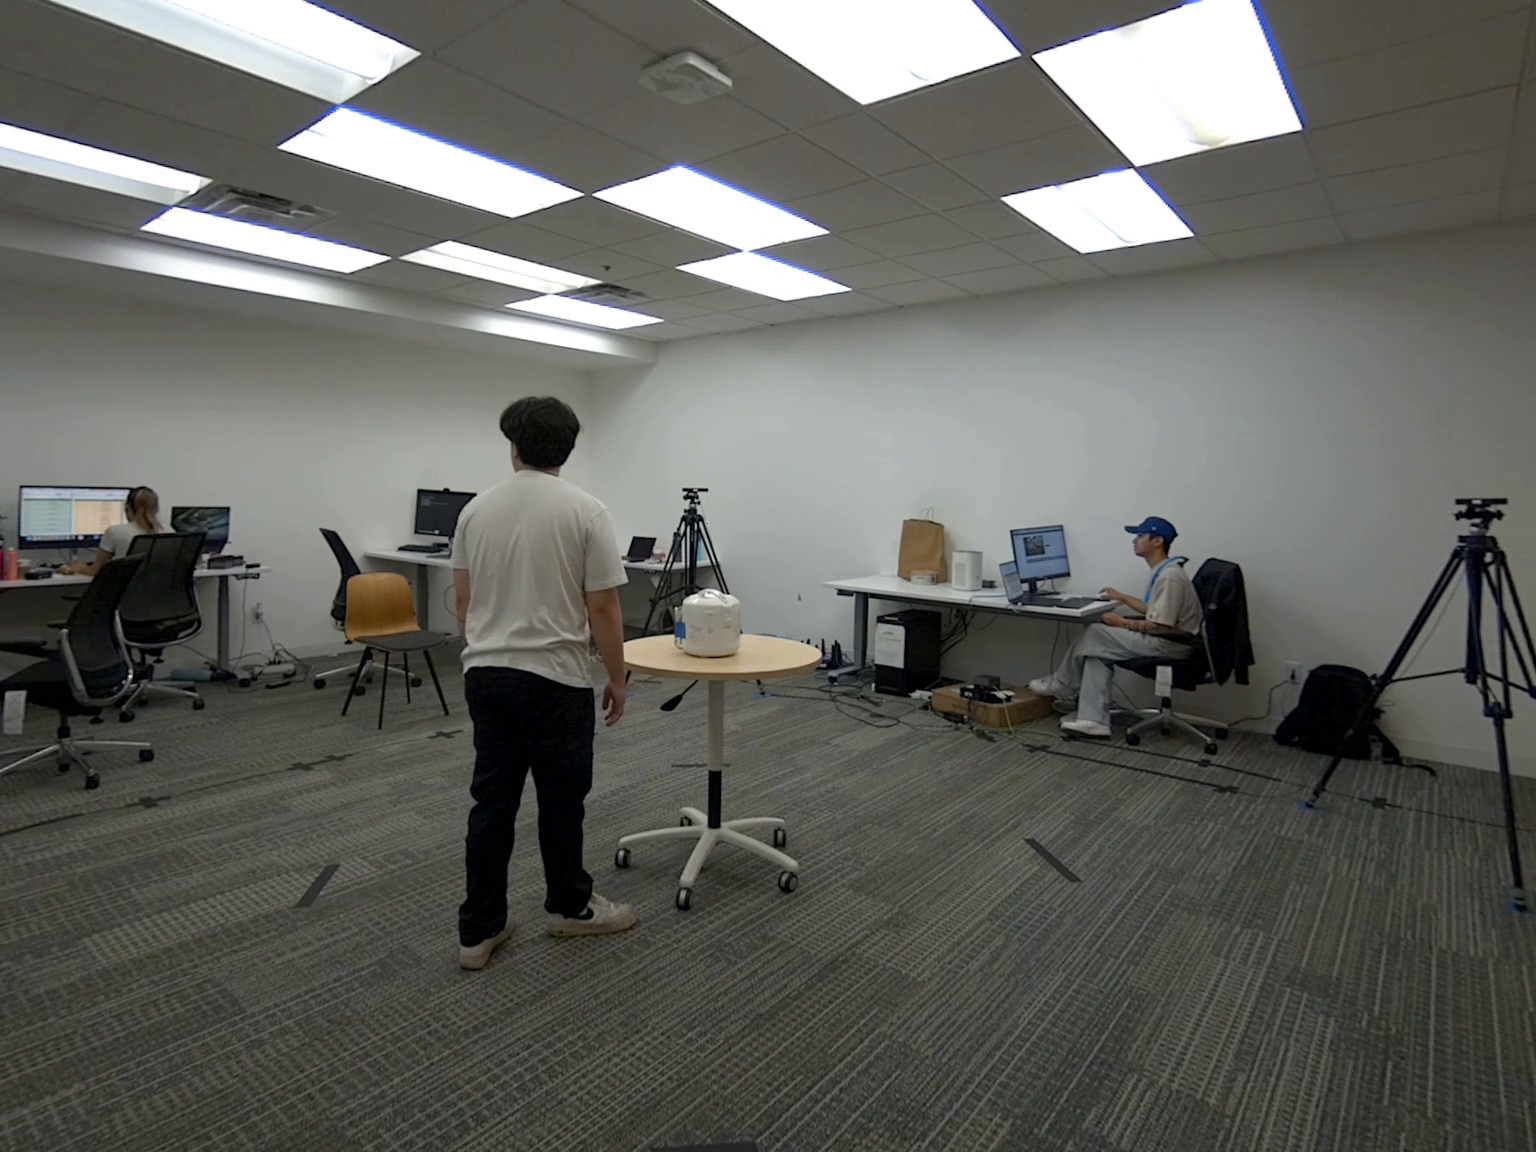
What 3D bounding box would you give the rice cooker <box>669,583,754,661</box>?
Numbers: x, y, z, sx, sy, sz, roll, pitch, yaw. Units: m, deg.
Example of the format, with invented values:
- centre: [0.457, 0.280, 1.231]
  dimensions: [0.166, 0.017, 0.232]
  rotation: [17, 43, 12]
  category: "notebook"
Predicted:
- centre: [-0.209, 0.159, 3.069]
  dimensions: [0.211, 0.232, 0.228]
  rotation: [-3, 5, -36]
  category: "rice cooker"
